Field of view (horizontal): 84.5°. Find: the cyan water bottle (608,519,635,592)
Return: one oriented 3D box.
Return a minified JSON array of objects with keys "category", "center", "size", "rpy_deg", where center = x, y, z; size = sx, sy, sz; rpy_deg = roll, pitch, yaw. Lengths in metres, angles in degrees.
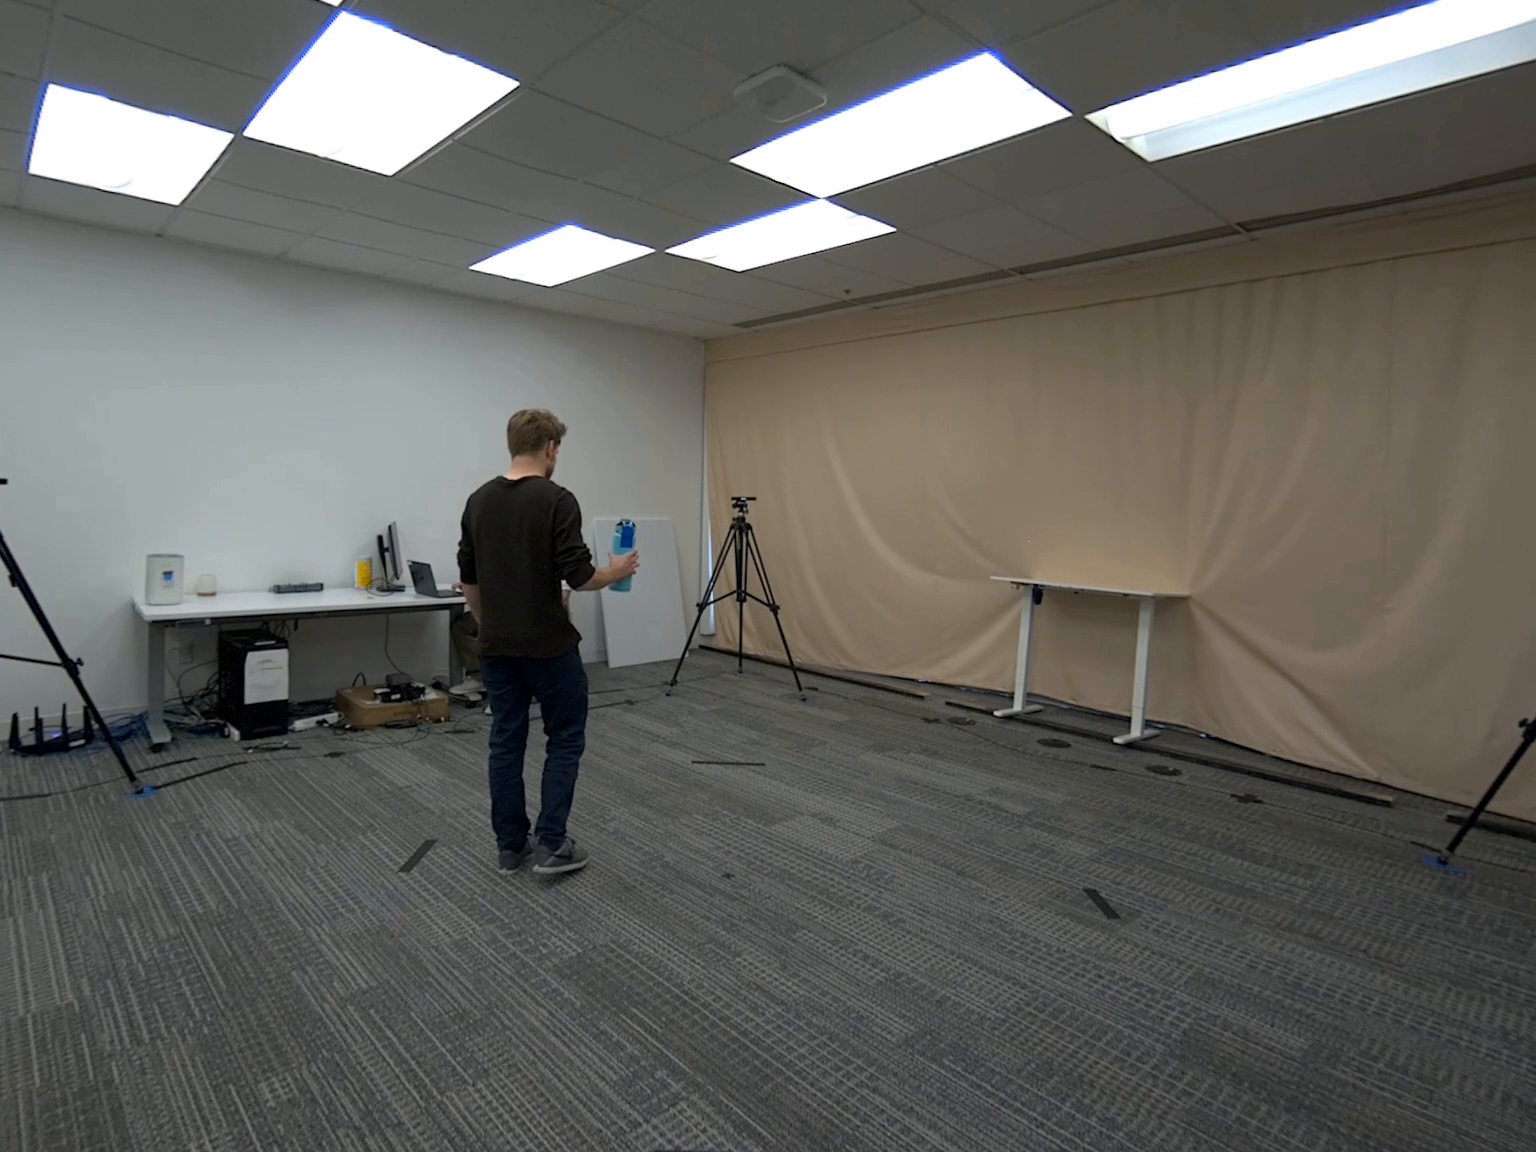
[{"category":"cyan water bottle","center":[-0.572,-0.085,3.298],"size":[0.092,0.282,0.093],"rpy_deg":[7,7,-2]}]
